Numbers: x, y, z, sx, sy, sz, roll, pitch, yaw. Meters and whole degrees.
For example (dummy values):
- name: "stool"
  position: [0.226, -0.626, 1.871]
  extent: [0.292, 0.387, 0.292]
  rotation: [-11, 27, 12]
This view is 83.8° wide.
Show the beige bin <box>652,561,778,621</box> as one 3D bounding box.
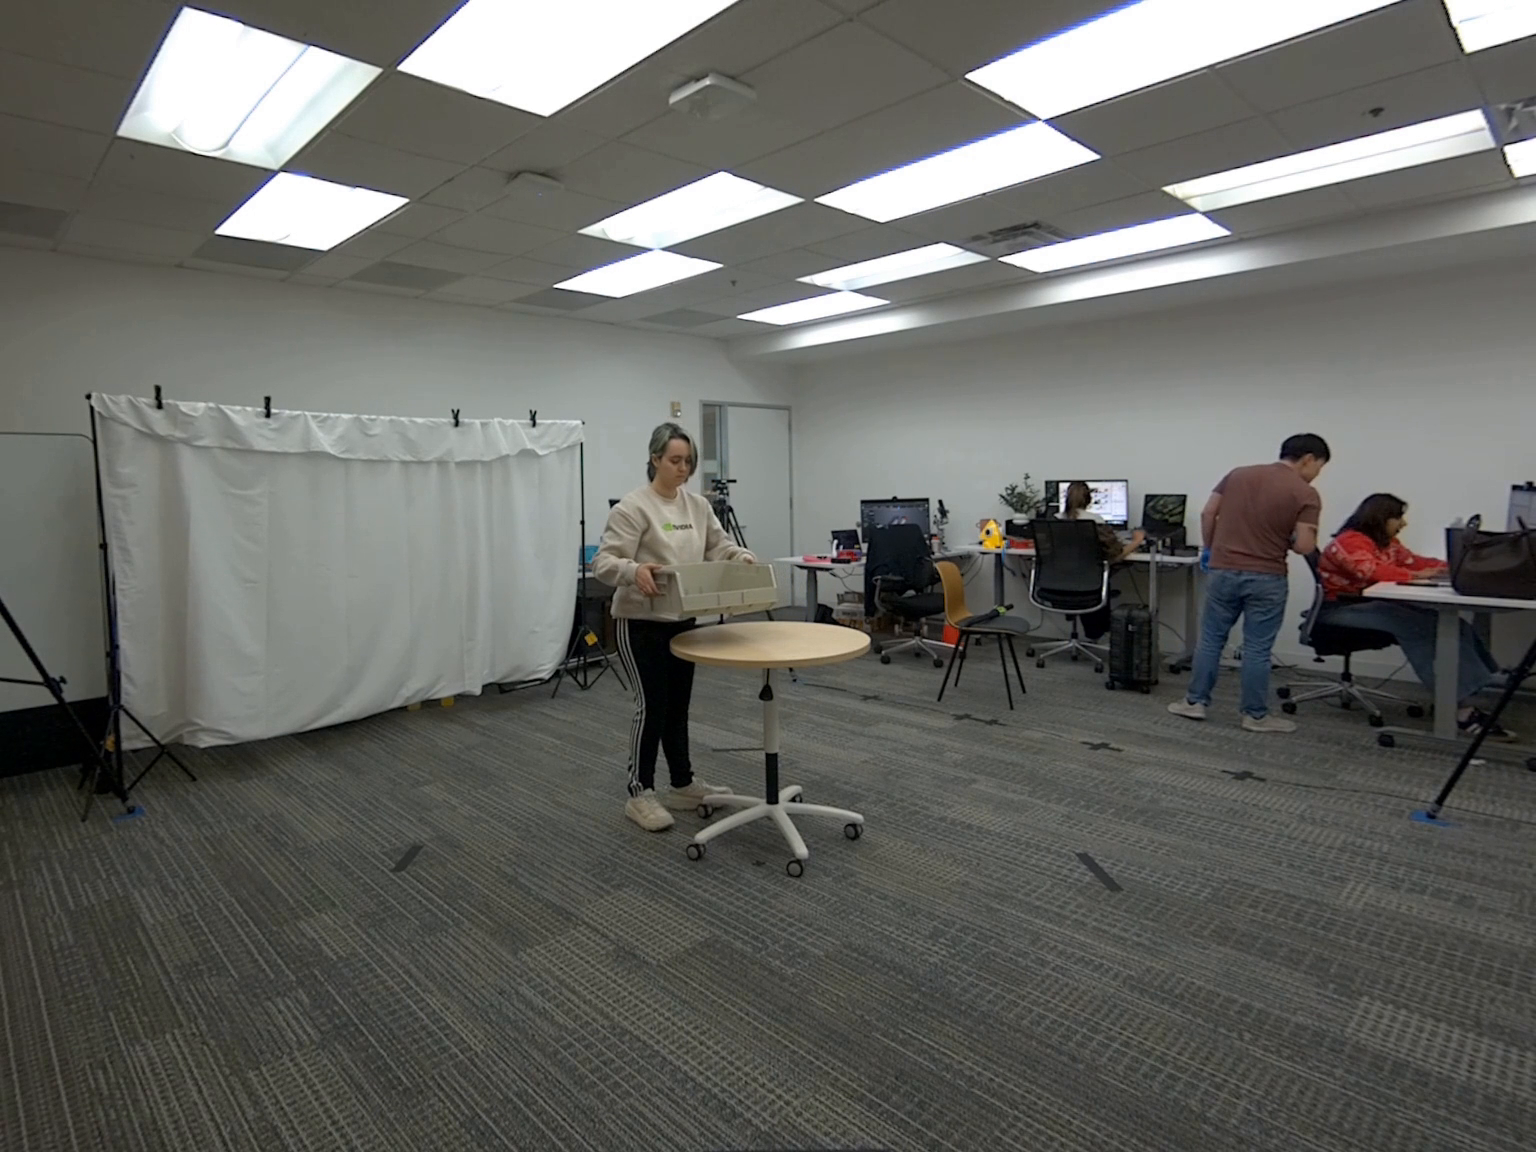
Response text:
- name: "beige bin"
  position: [-0.232, 0.055, 3.276]
  extent: [0.413, 0.188, 0.387]
  rotation: [-6, 4, -31]
